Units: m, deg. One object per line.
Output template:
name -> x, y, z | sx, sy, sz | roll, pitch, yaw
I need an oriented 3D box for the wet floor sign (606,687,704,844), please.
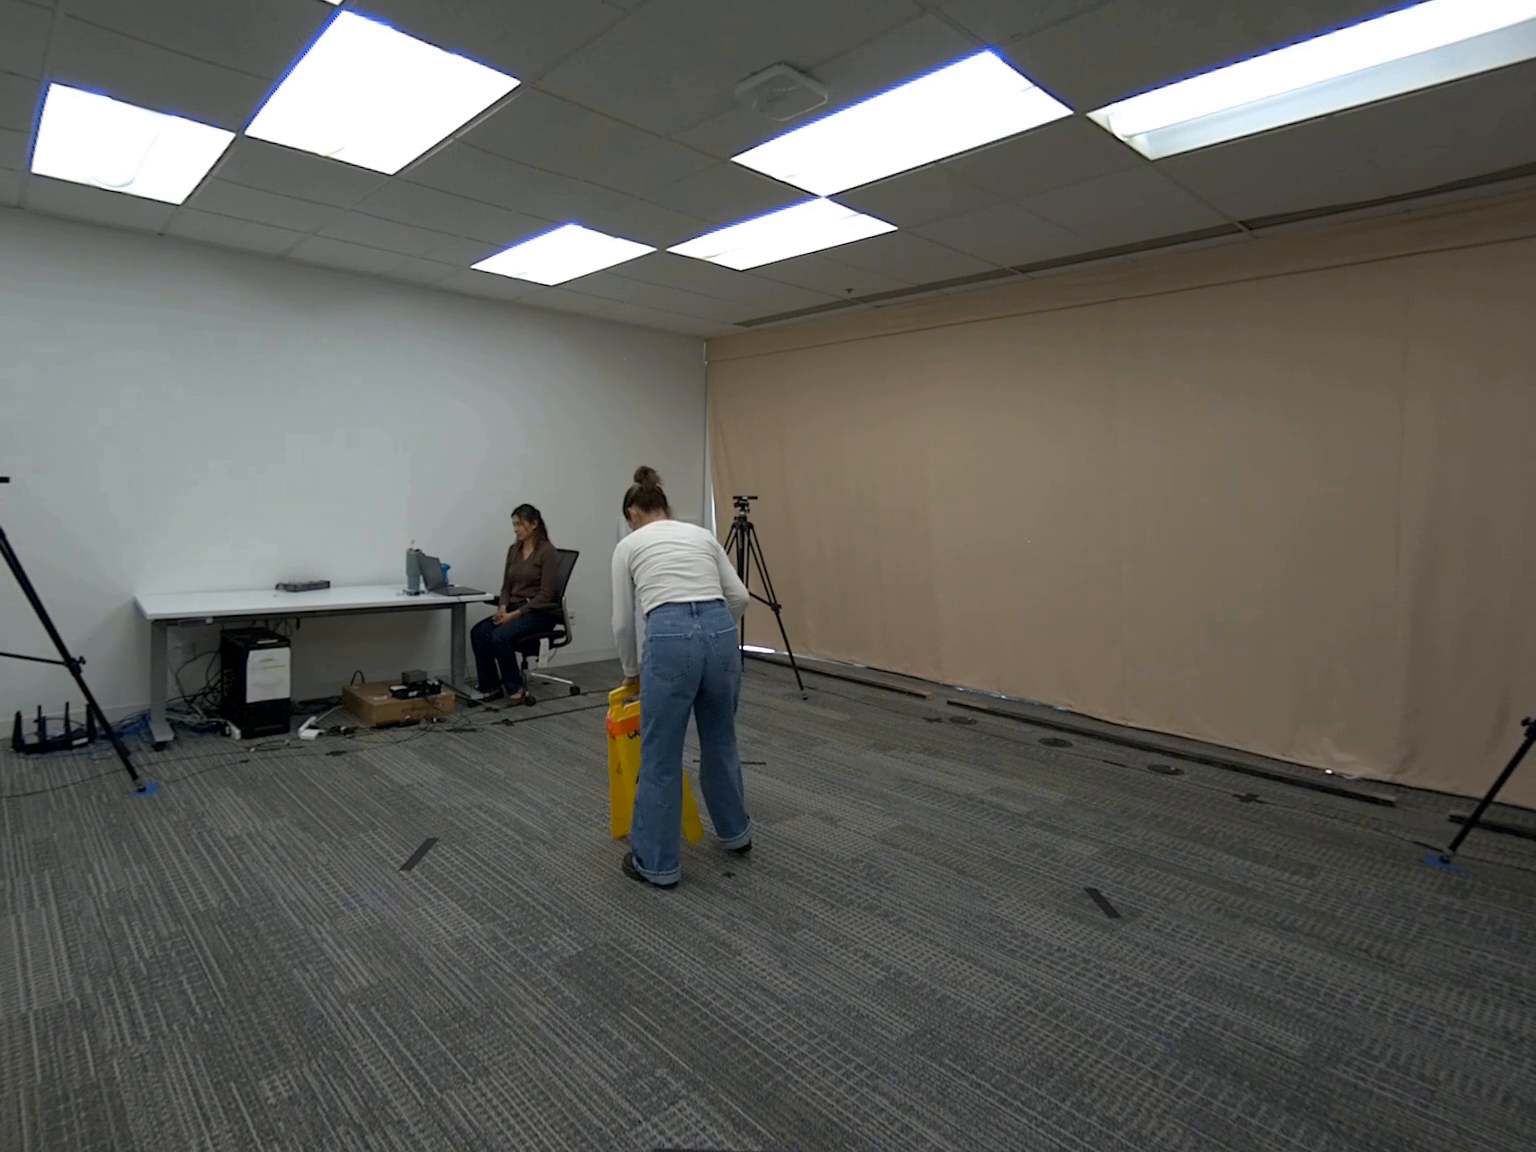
wet floor sign -> -0.487, 0.734, 3.309 | 0.278, 0.640, 0.296 | -16, 12, -32
